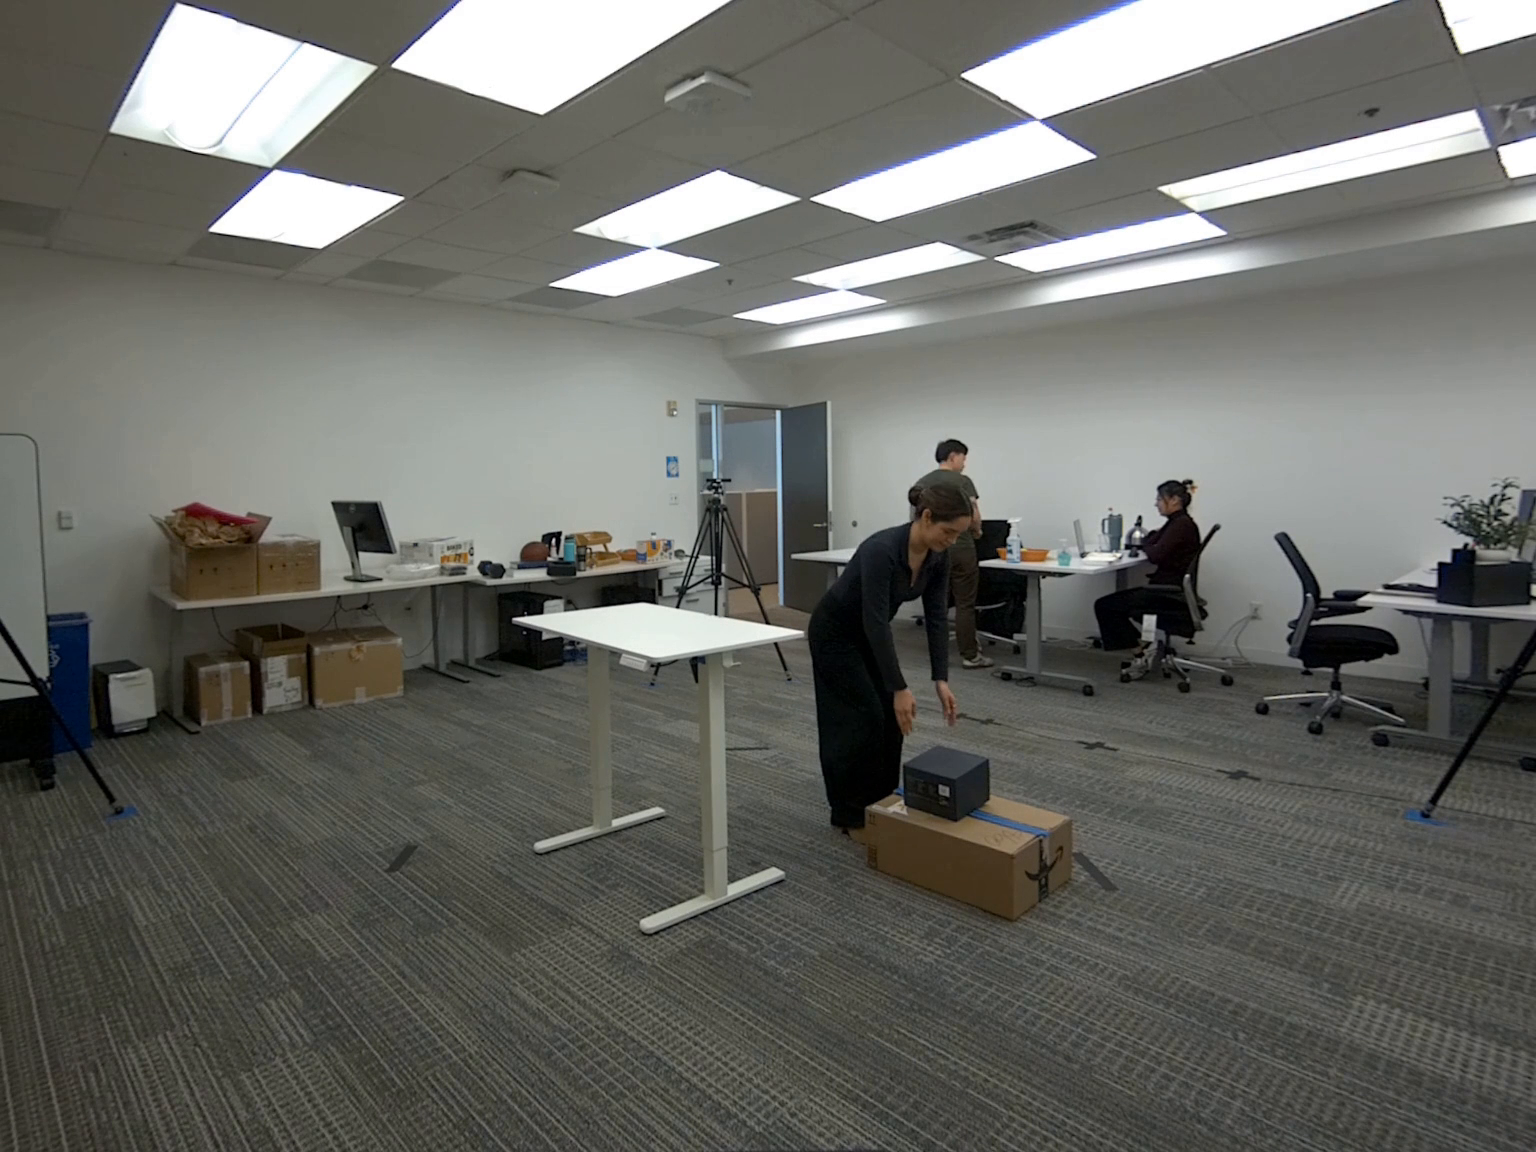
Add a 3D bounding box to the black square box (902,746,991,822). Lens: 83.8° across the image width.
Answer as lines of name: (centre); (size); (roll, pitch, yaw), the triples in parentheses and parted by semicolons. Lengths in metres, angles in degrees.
black square box: (0.638, 0.732, 3.051); (0.224, 0.155, 0.222); (5, 12, 44)
